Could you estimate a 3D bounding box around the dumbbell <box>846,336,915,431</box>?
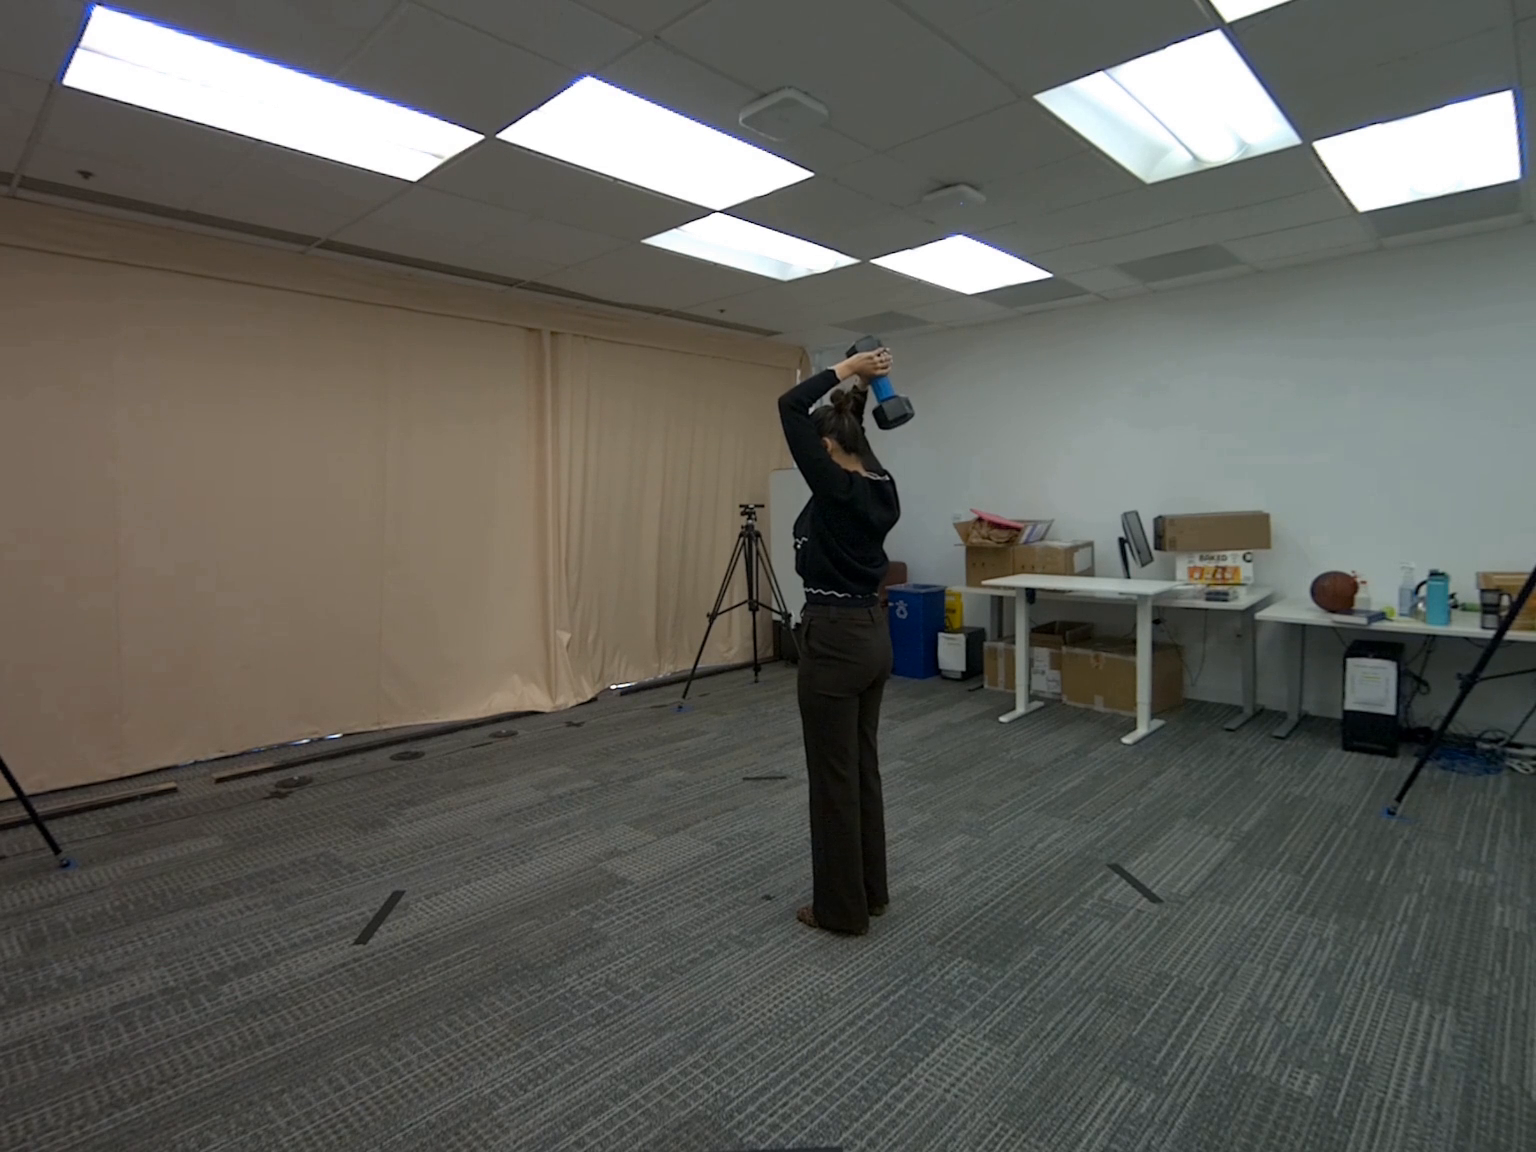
[{"bbox_3d":[0.358,-0.612,2.679,0.123,0.296,0.108,-20,-8,0],"label":"dumbbell"}]
